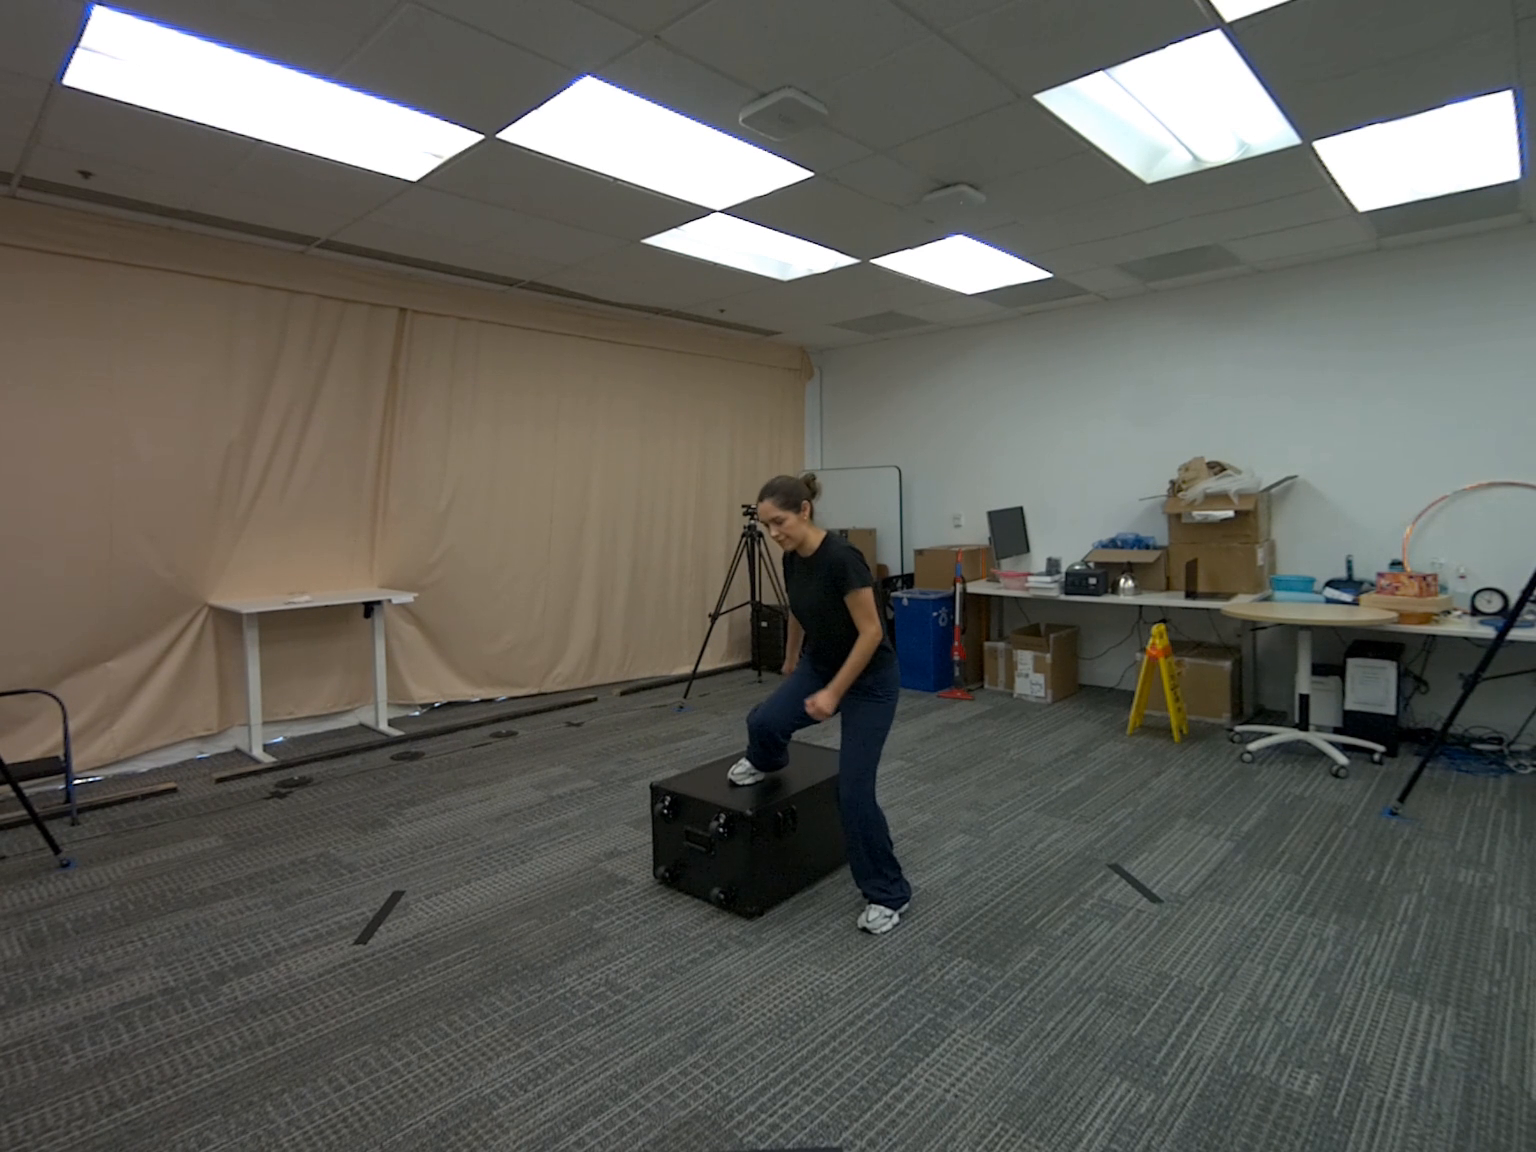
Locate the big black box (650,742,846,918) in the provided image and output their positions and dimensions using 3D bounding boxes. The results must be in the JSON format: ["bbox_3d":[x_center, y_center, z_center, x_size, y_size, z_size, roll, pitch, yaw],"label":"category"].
[{"bbox_3d":[-0.010,0.931,3.214,0.538,0.395,0.836,2,5,39],"label":"big black box"}]
